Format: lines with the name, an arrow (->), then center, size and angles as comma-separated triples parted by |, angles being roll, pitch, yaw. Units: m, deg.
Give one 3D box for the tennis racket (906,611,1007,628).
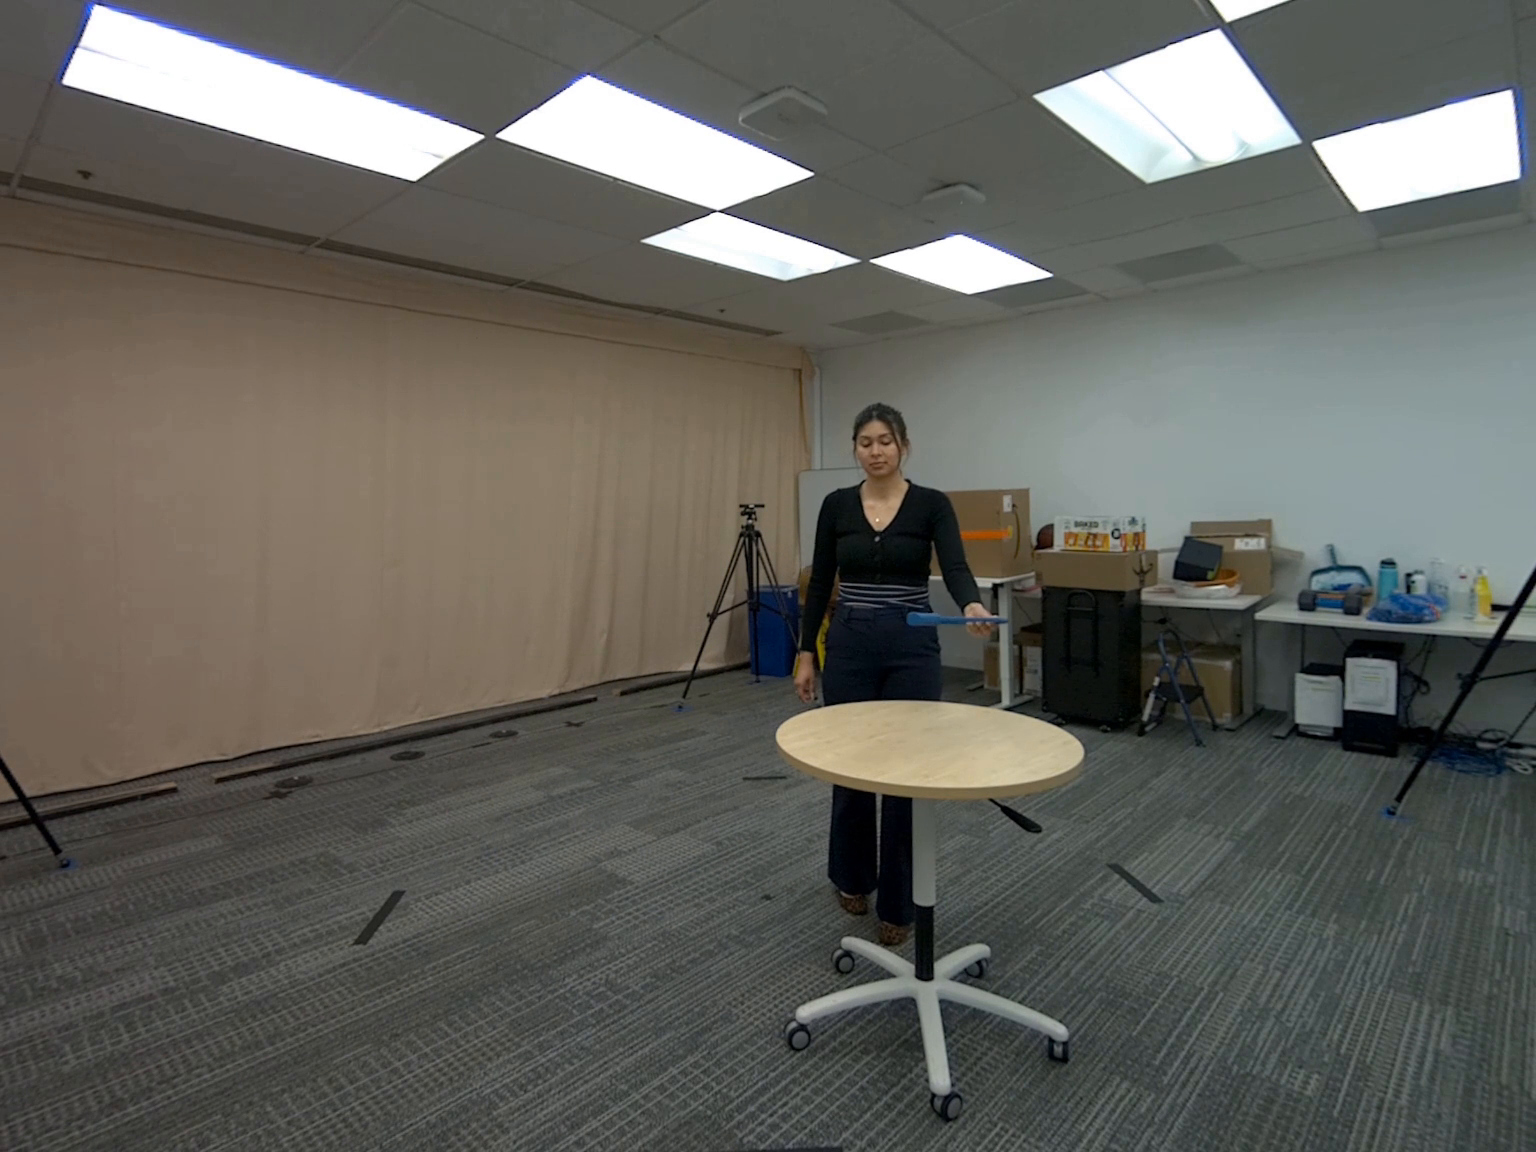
tennis racket -> 0.463, 0.114, 2.055 | 0.220, 0.032, 0.420 | 0, -1, 33
